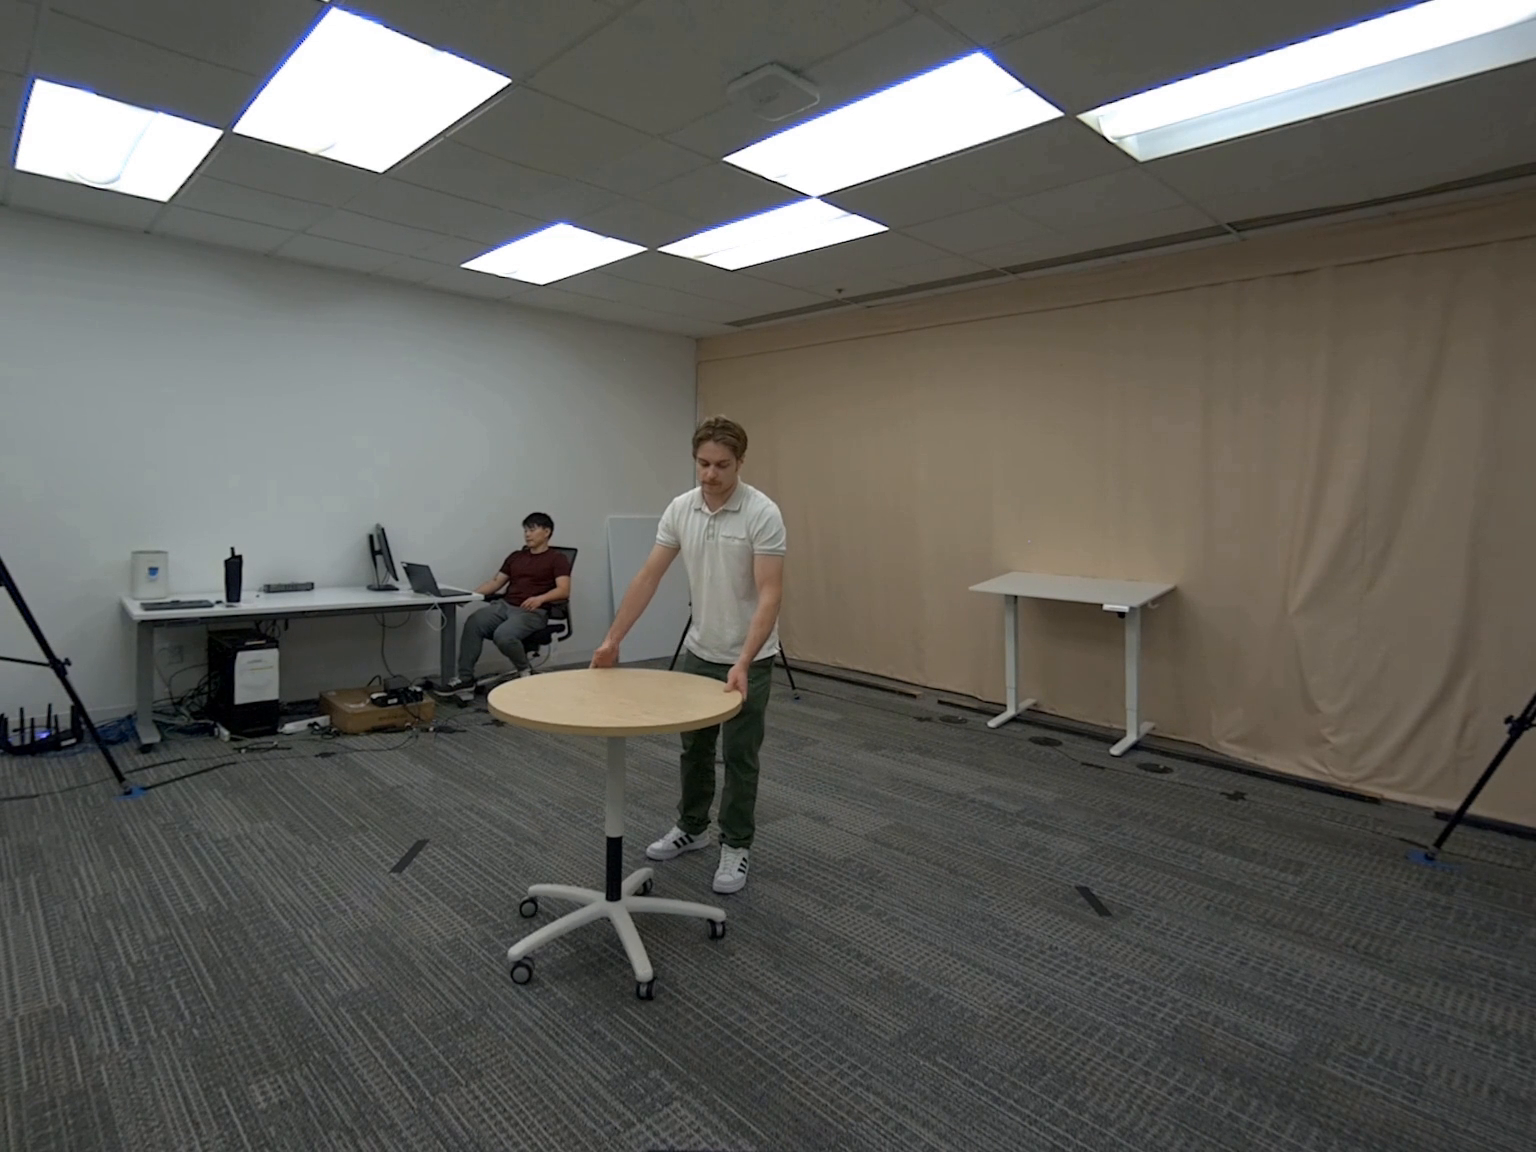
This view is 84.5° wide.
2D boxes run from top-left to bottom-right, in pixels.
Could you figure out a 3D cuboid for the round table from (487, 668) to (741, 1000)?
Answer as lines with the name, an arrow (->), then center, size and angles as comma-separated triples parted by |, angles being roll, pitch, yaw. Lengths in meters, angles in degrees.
round table -> -0.486, 0.755, 2.601 | 0.763, 0.792, 0.766 | 1, 4, -1
